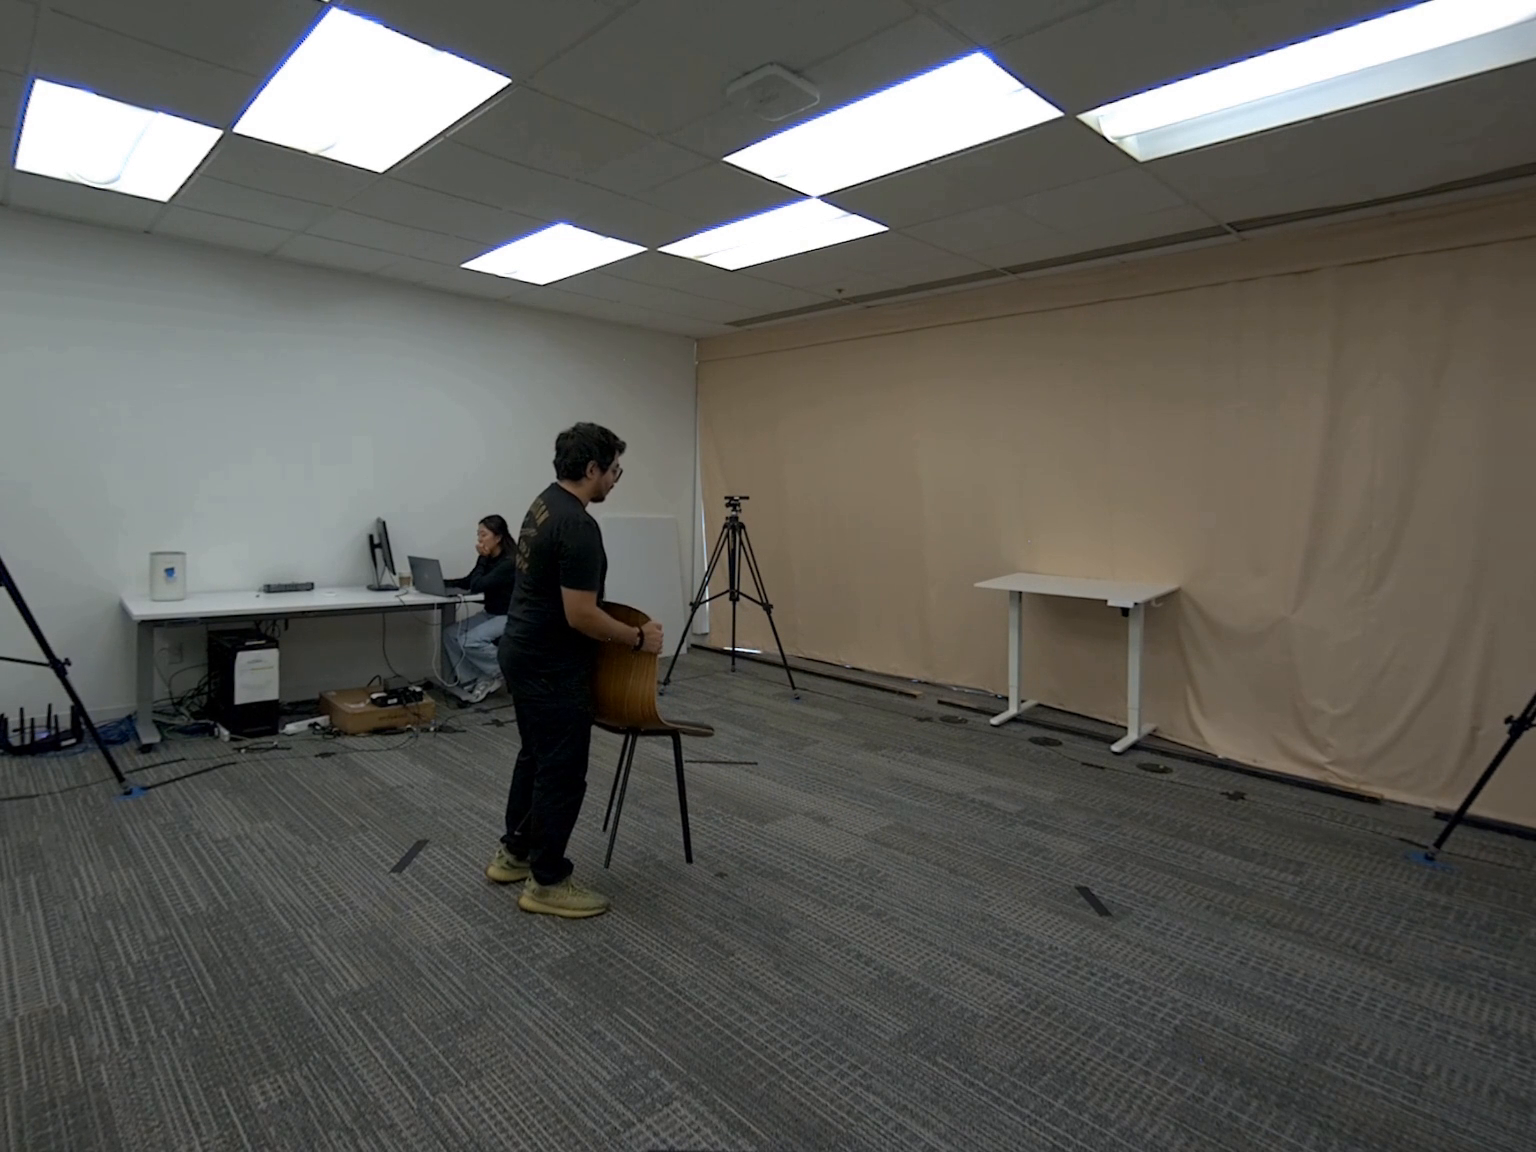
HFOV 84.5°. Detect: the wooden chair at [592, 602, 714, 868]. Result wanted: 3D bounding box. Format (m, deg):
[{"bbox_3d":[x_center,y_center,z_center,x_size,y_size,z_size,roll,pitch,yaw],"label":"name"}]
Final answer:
[{"bbox_3d":[-0.483,0.552,3.054,0.489,0.881,0.509,4,-7,34],"label":"wooden chair"}]
